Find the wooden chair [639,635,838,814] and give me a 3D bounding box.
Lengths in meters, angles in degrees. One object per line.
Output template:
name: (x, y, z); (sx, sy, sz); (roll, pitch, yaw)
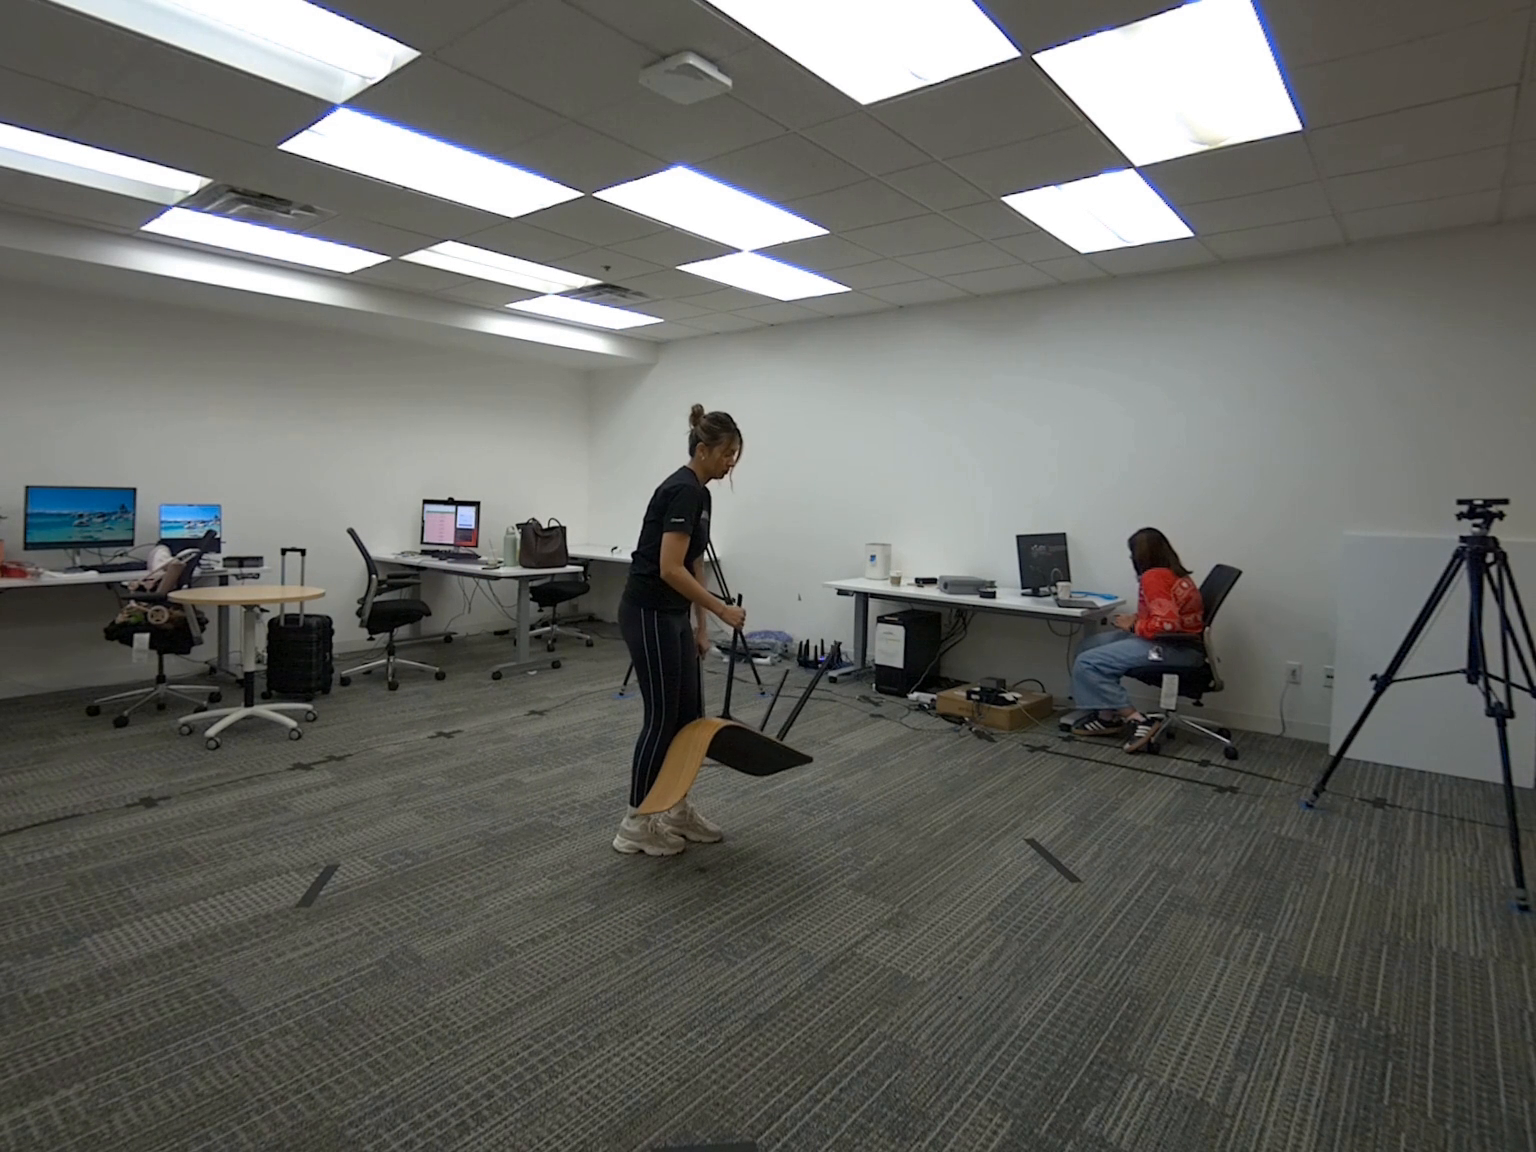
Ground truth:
wooden chair: (-0.112, 0.599, 3.209); (0.515, 0.888, 0.480); (30, -32, -13)
